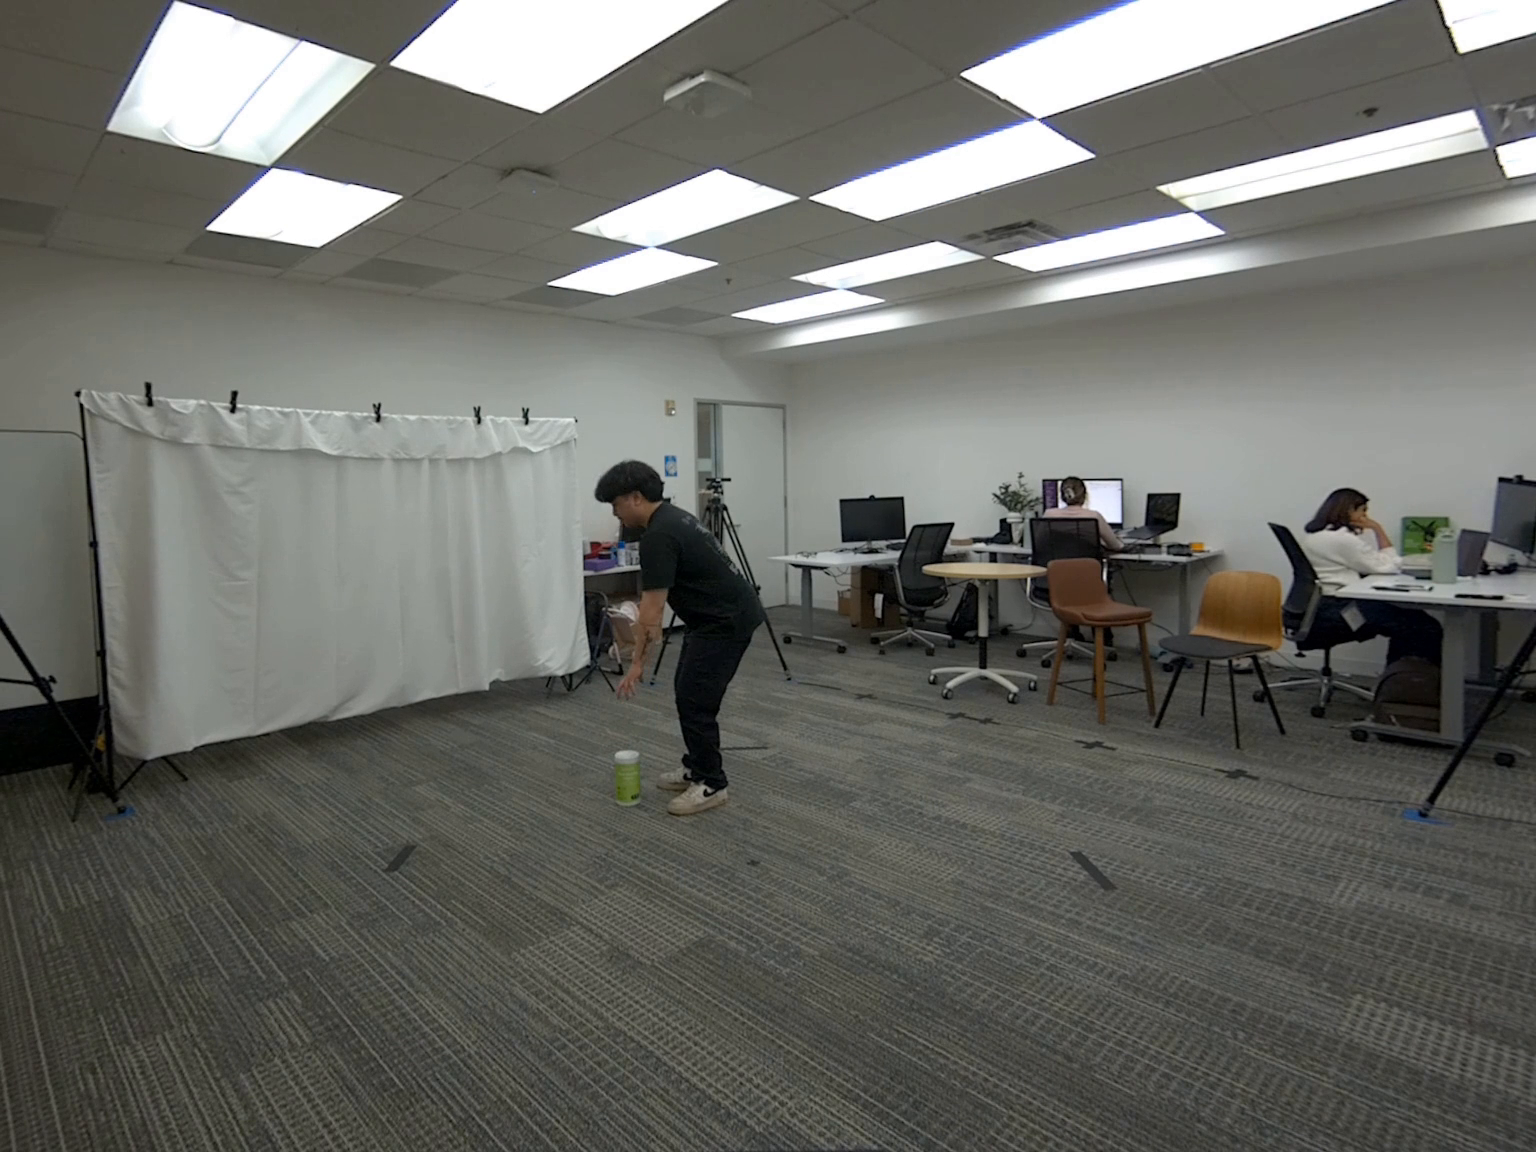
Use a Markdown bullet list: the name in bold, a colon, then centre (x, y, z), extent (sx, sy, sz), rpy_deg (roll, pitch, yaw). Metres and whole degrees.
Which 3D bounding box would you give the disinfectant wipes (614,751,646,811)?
- **disinfectant wipes**: centre (-0.600, 0.884, 3.718), extent (0.118, 0.217, 0.118), rpy_deg (-2, 2, -2)
